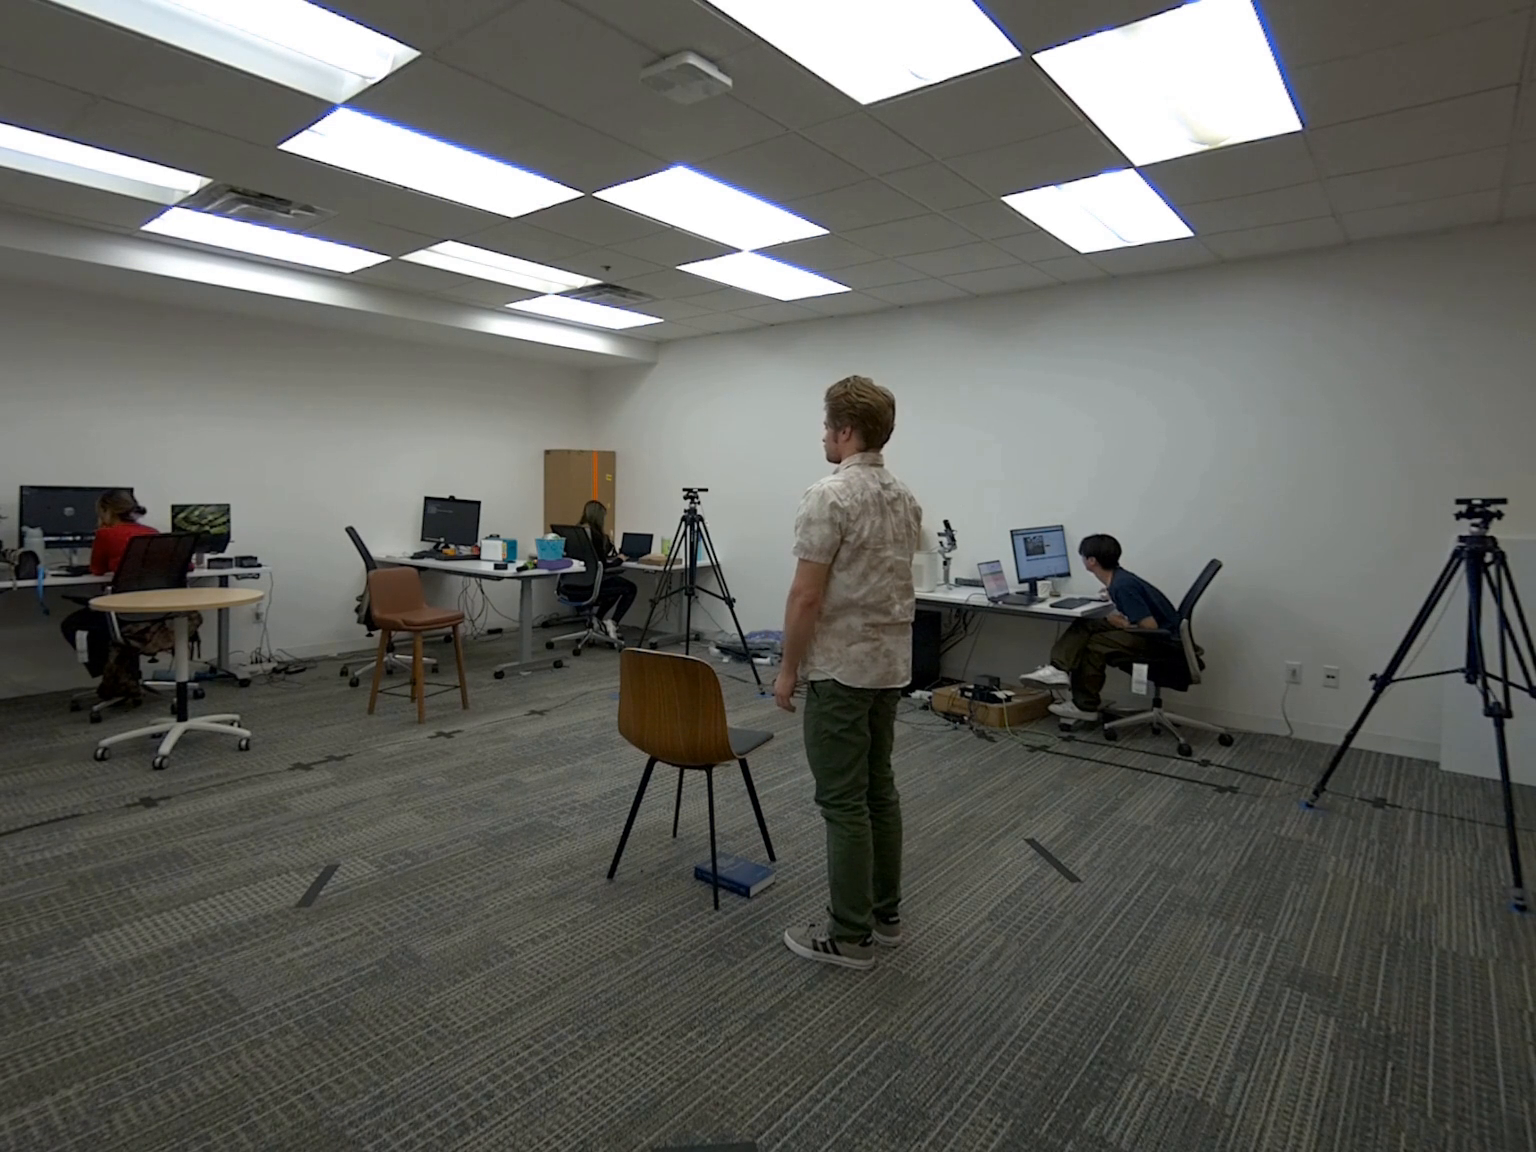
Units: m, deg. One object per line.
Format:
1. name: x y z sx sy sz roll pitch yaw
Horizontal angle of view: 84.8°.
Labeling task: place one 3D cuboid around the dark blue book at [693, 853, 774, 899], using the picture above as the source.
1. dark blue book: -0.127 1.055 3.018 0.253 0.045 0.159 6 7 36
